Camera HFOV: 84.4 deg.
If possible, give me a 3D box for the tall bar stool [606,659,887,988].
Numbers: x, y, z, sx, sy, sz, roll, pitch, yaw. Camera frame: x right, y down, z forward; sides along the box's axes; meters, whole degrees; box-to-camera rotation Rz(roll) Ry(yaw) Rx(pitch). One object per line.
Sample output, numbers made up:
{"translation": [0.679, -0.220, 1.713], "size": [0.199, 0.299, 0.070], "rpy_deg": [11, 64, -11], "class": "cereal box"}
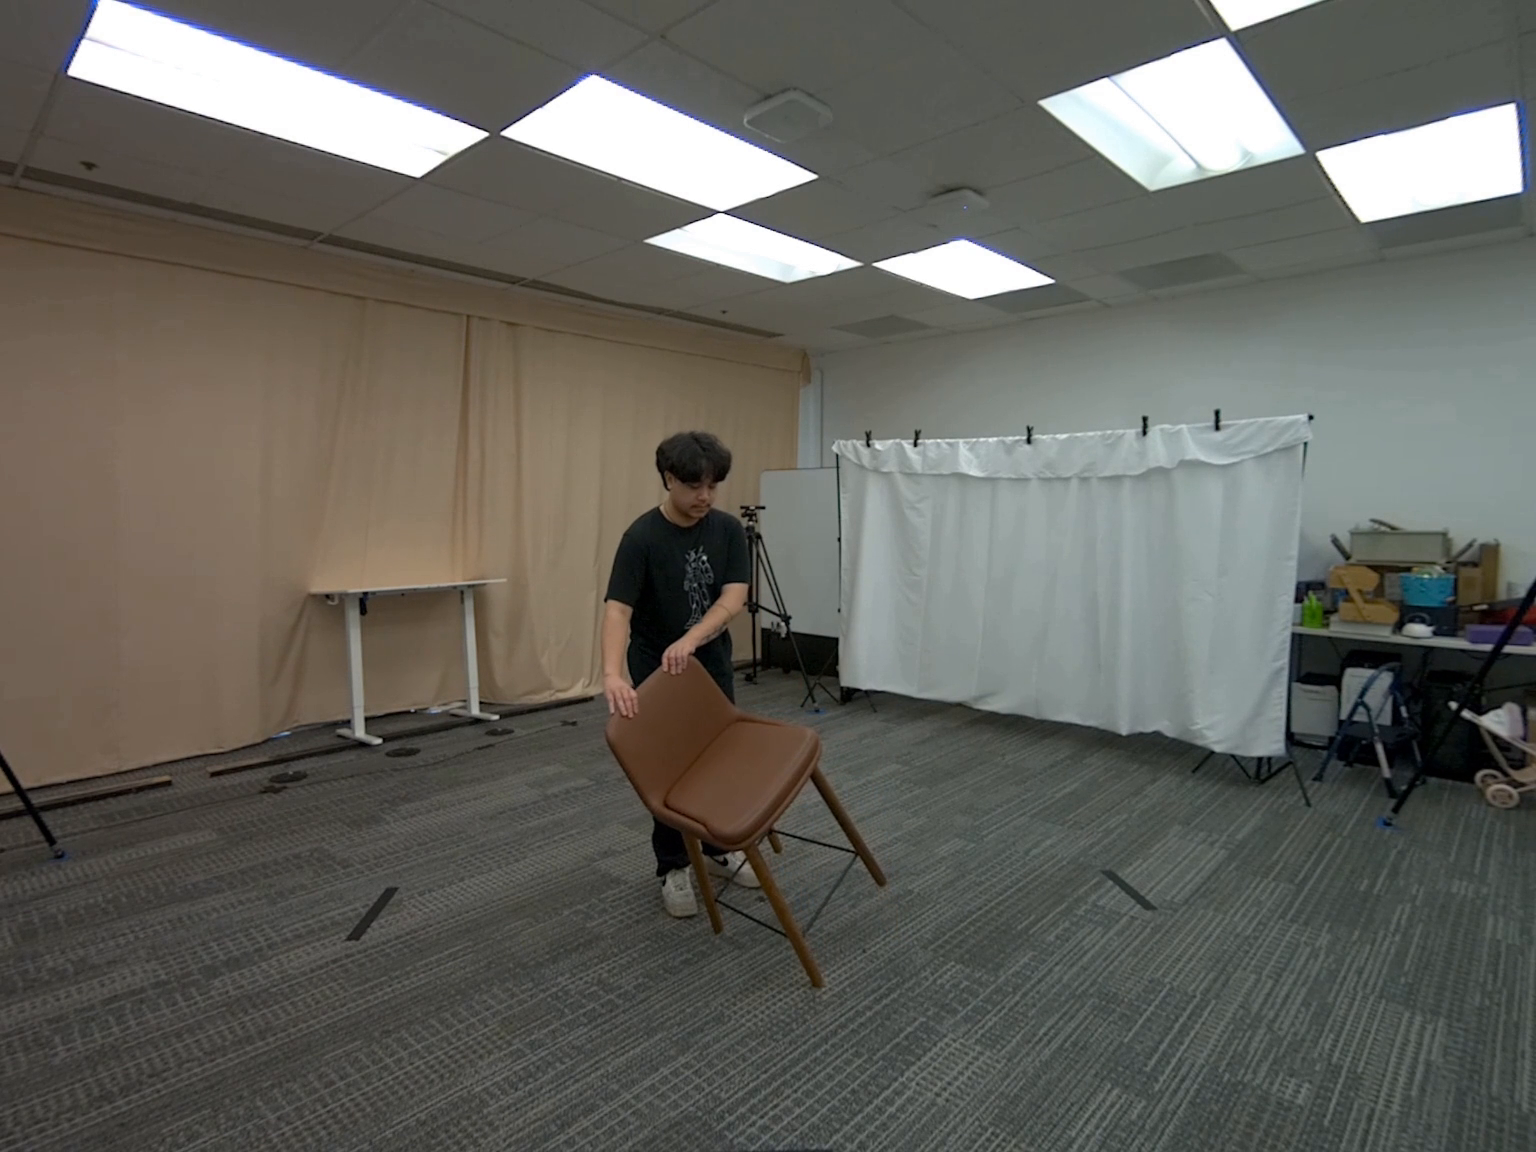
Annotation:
{"translation": [-0.055, 0.708, 2.546], "size": [0.482, 0.872, 0.451], "rpy_deg": [-1, 31, 45], "class": "tall bar stool"}
